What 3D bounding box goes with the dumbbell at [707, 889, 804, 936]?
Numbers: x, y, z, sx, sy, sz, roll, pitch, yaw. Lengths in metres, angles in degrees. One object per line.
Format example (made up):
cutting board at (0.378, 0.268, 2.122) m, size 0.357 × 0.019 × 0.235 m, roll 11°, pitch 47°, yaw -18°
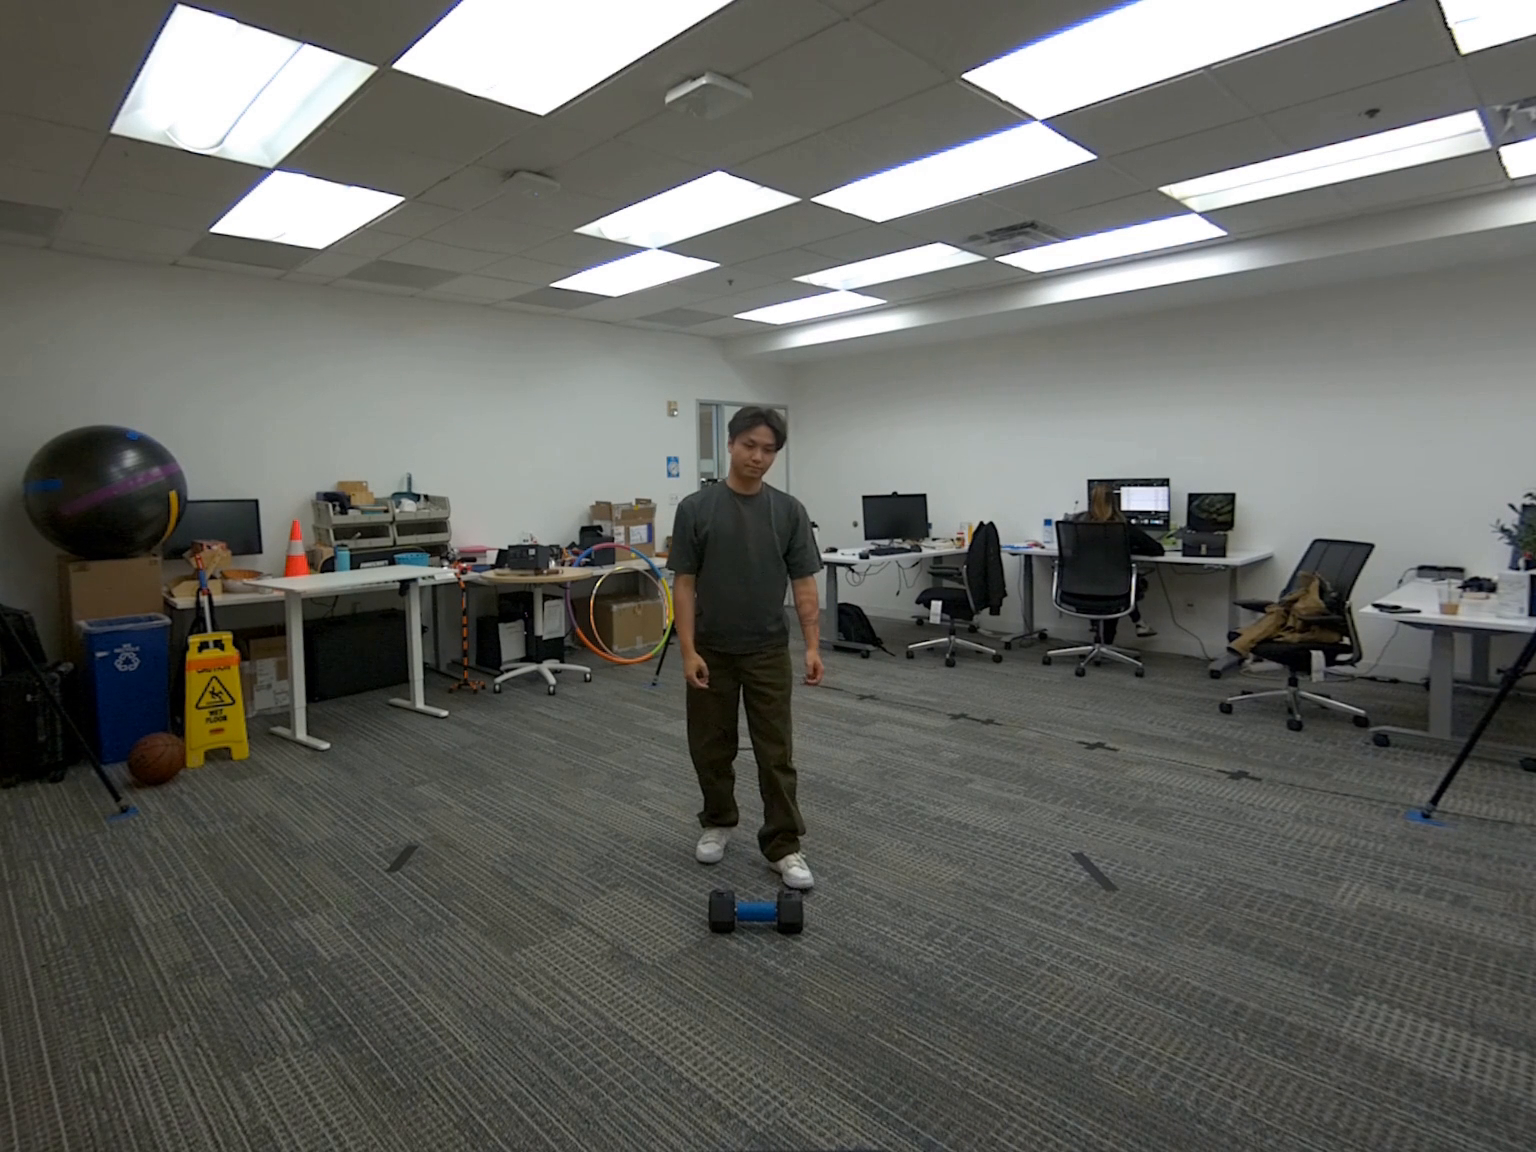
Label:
dumbbell at (-0.034, 1.050, 2.660) m, size 0.294 × 0.120 × 0.111 m, roll -1°, pitch 35°, yaw 3°
